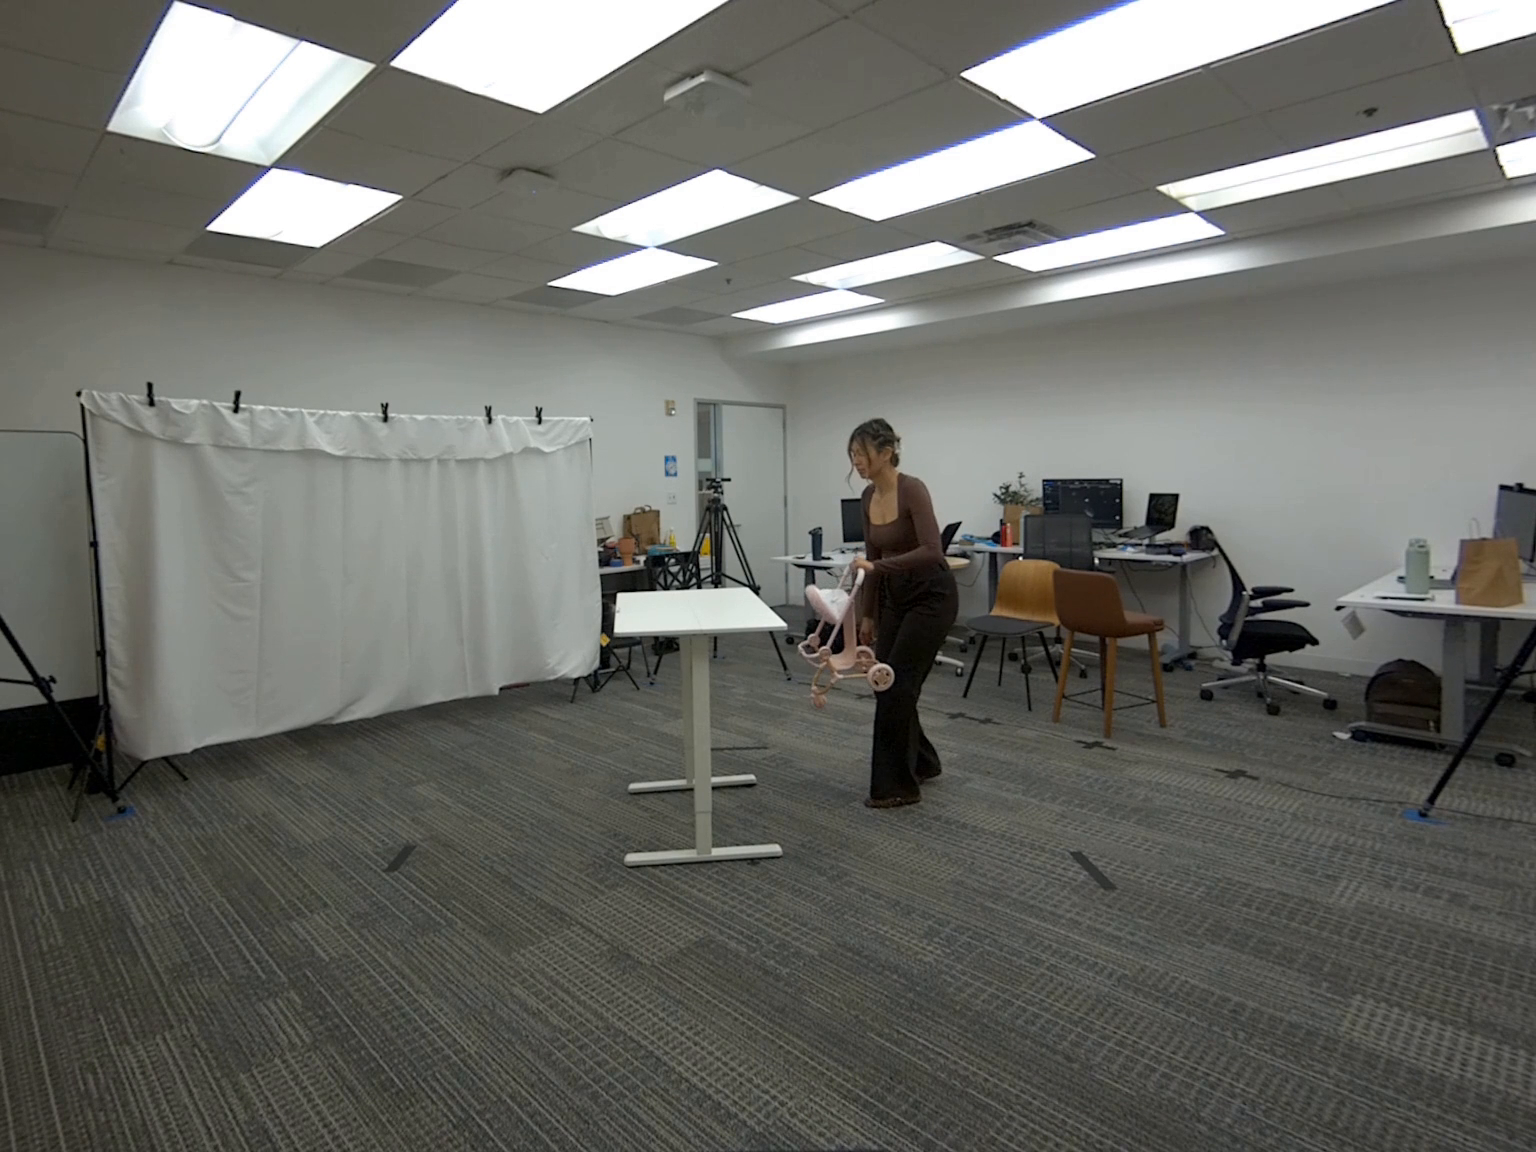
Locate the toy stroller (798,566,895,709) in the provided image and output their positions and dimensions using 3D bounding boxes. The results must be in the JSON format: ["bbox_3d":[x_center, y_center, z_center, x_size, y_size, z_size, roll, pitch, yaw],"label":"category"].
[{"bbox_3d":[0.274,0.255,3.423,0.341,0.528,0.285,-14,11,0],"label":"toy stroller"}]
